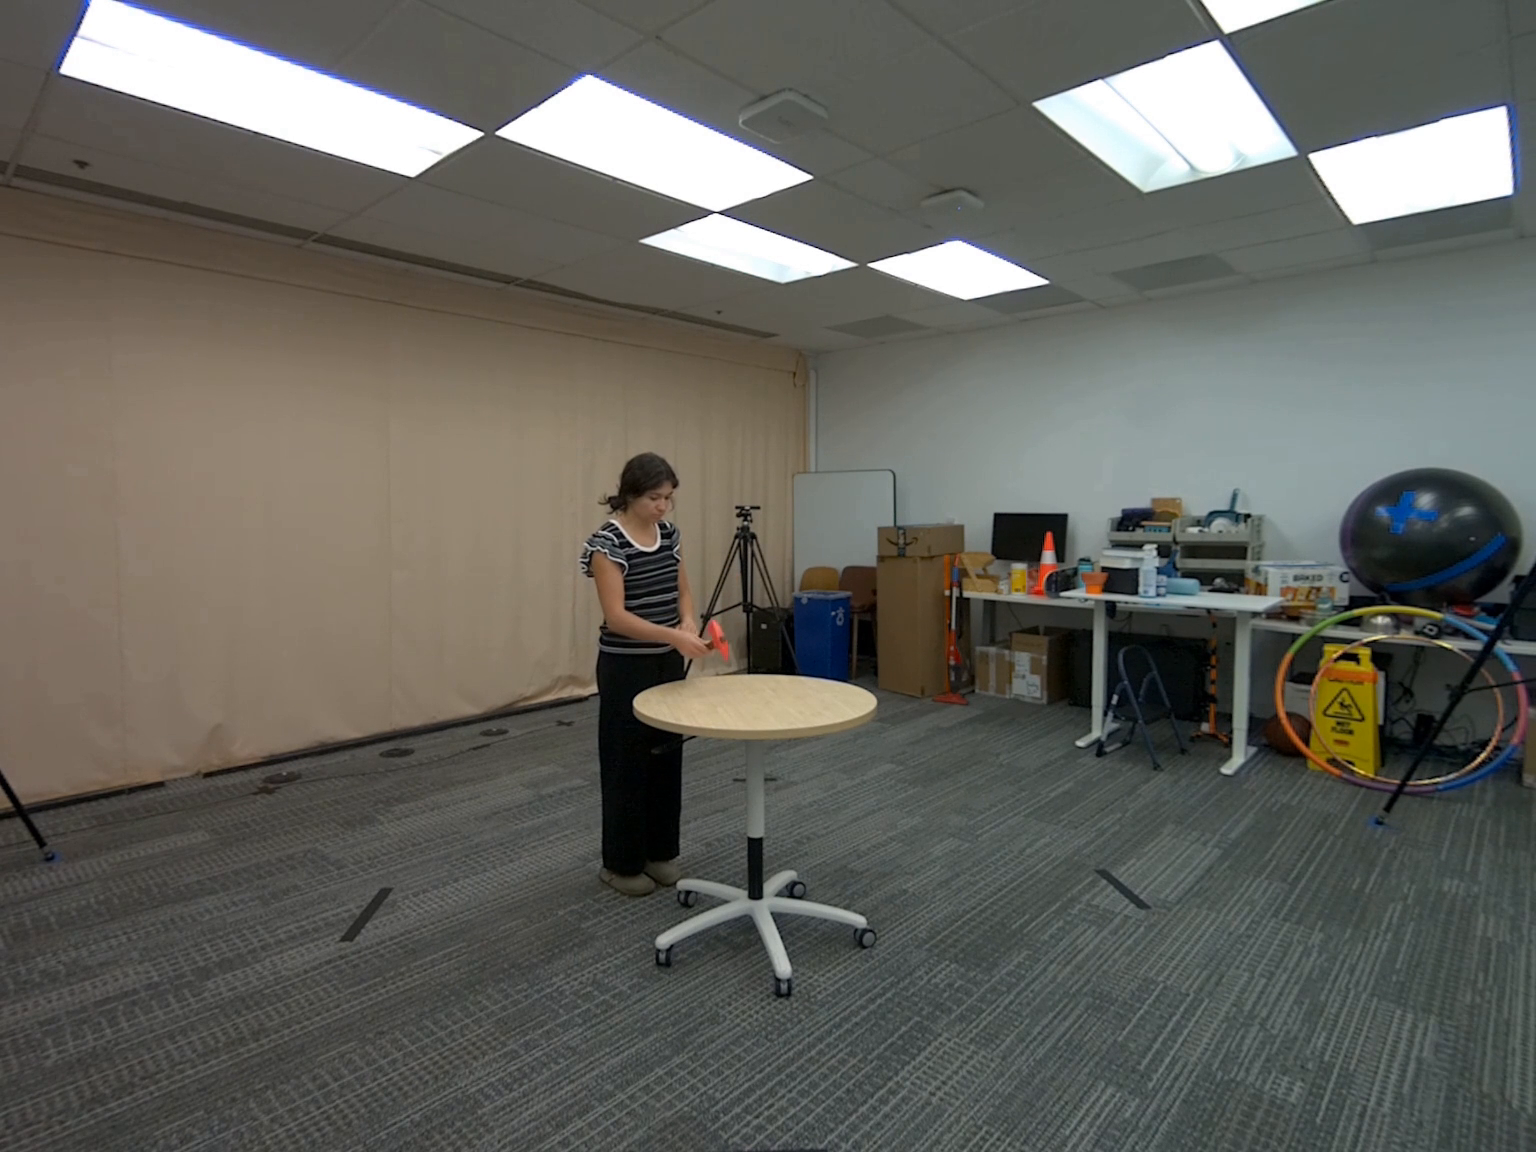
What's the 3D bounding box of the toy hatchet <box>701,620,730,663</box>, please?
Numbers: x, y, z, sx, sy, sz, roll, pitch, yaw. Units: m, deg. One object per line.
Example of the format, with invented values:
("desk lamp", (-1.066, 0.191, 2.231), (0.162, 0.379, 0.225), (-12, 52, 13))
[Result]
("toy hatchet", (-0.197, 0.200, 2.757), (0.029, 0.130, 0.277), (-19, 11, -26))
